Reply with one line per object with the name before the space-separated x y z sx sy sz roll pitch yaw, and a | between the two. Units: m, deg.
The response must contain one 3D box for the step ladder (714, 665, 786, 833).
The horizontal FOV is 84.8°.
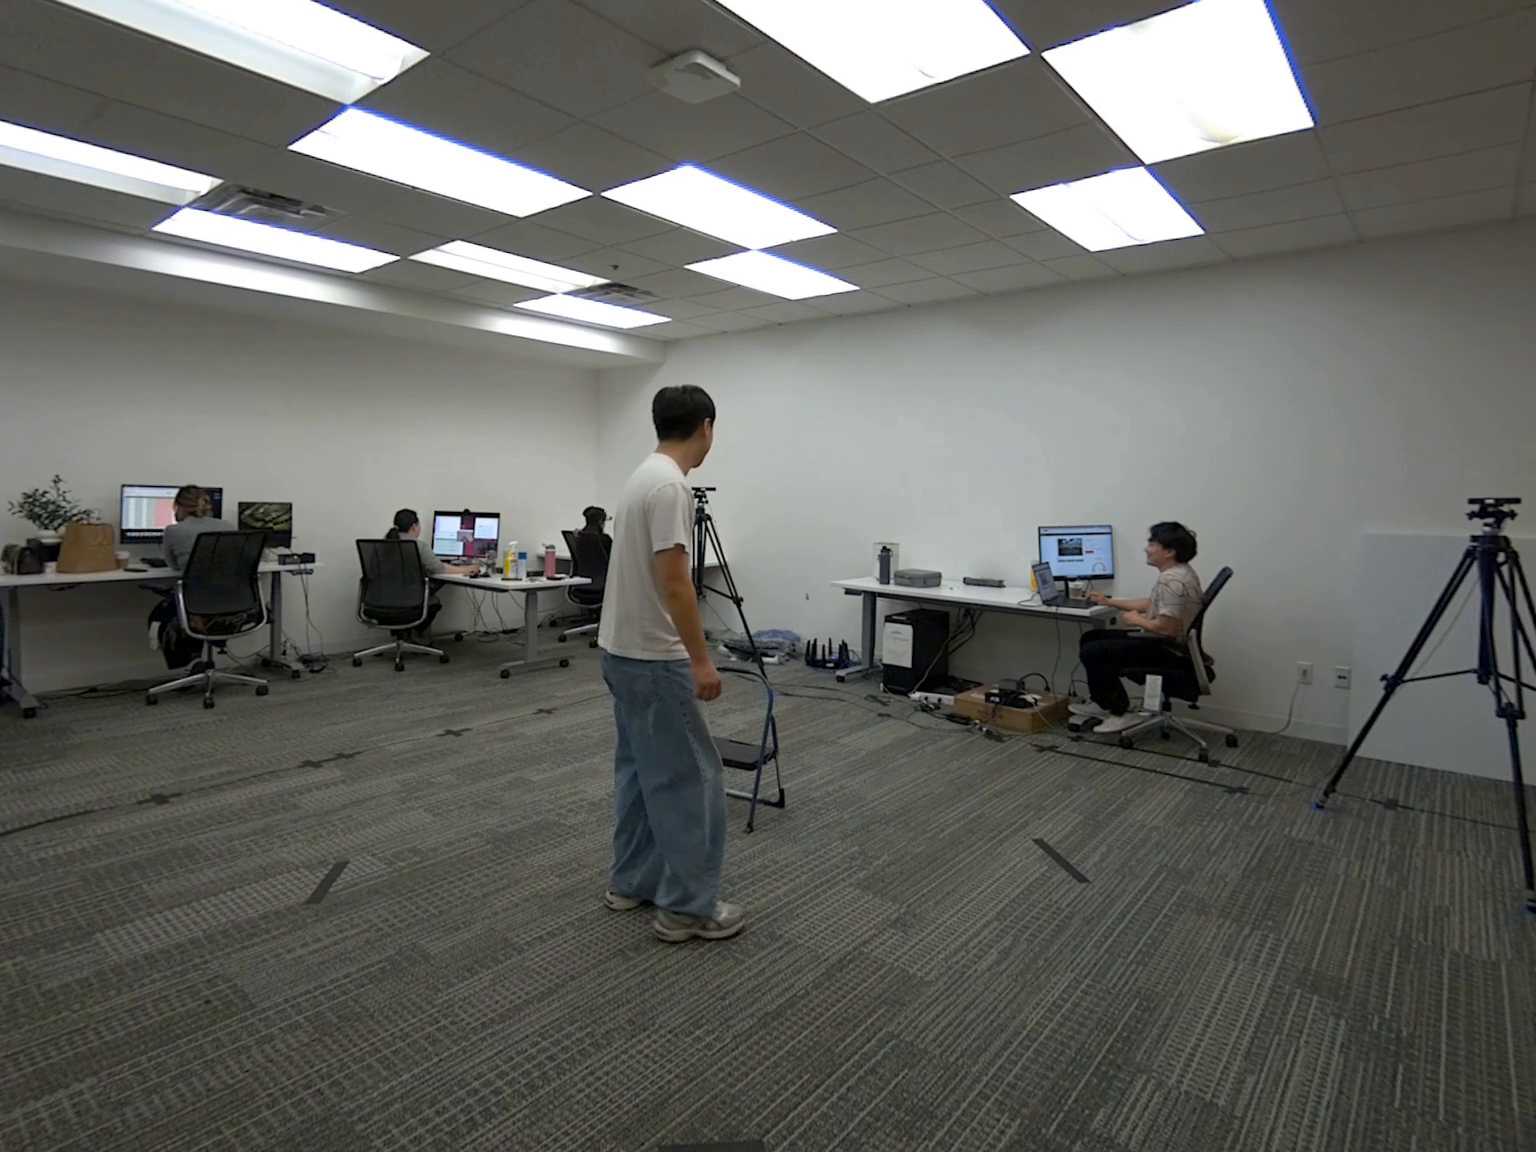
step ladder | -0.182 0.706 3.675 0.443 0.604 0.340 3 4 28
